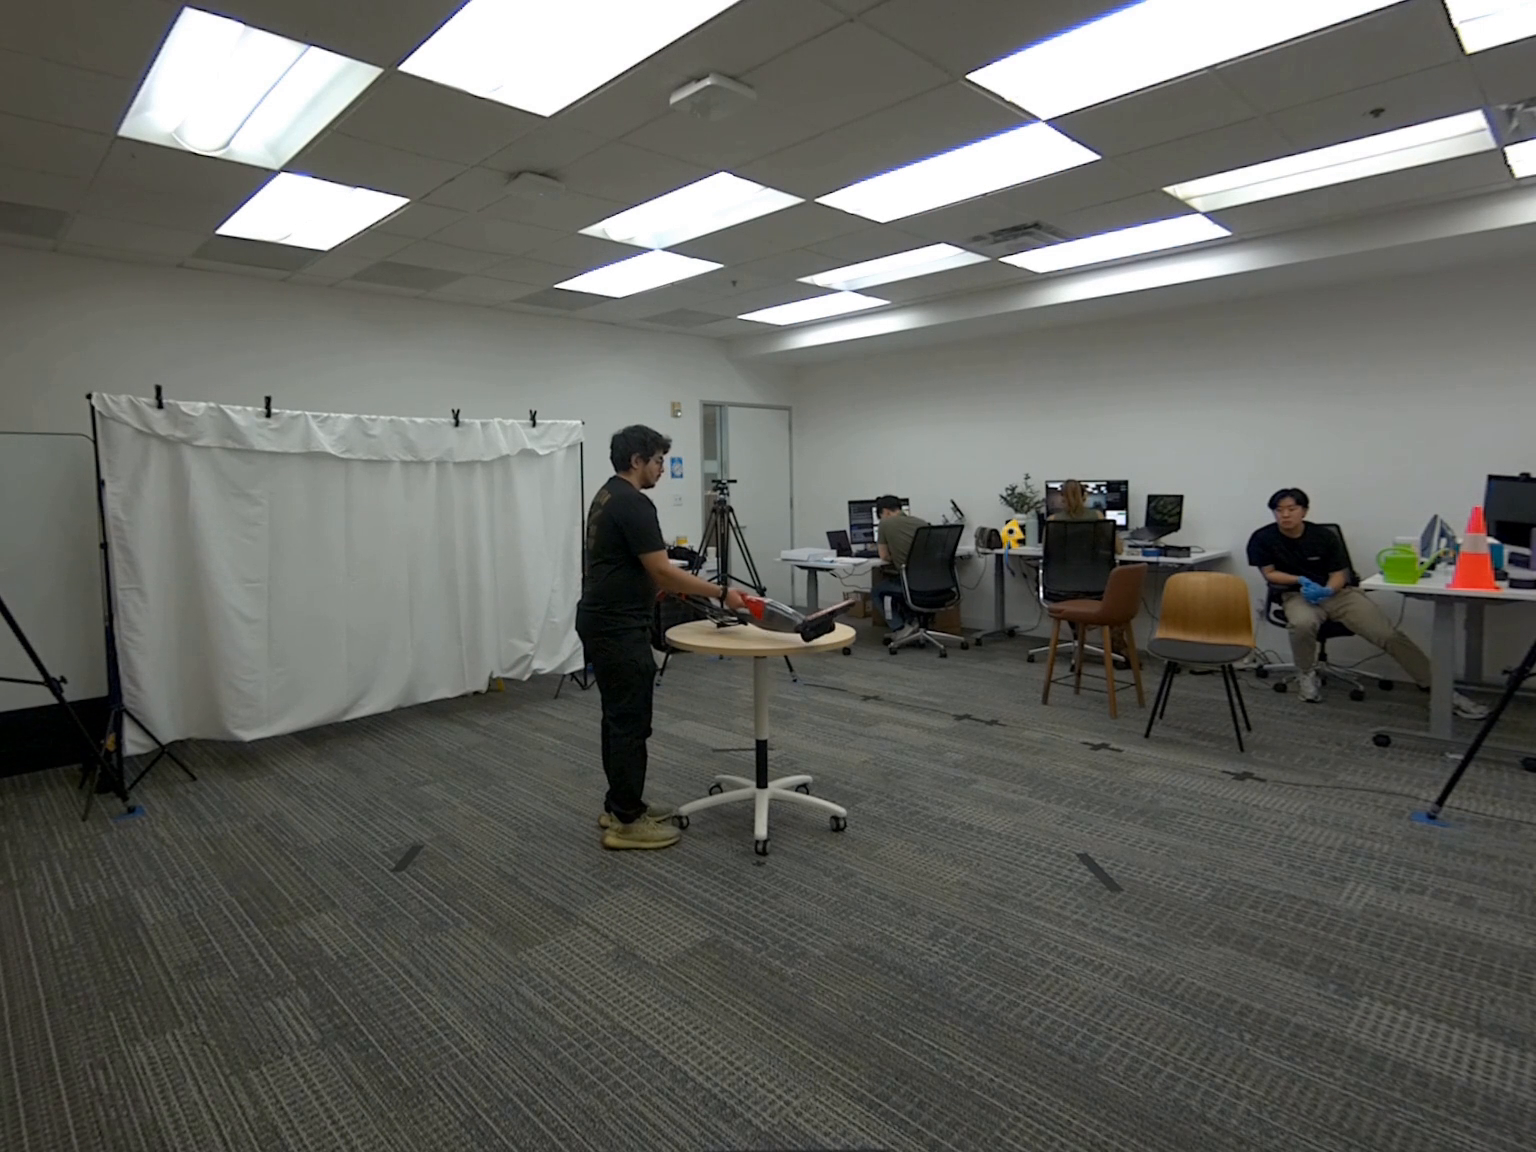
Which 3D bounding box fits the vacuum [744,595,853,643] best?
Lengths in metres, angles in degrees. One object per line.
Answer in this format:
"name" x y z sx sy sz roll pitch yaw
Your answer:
"vacuum" -0.141 0.138 3.440 0.247 0.143 1.081 -14 13 -38
